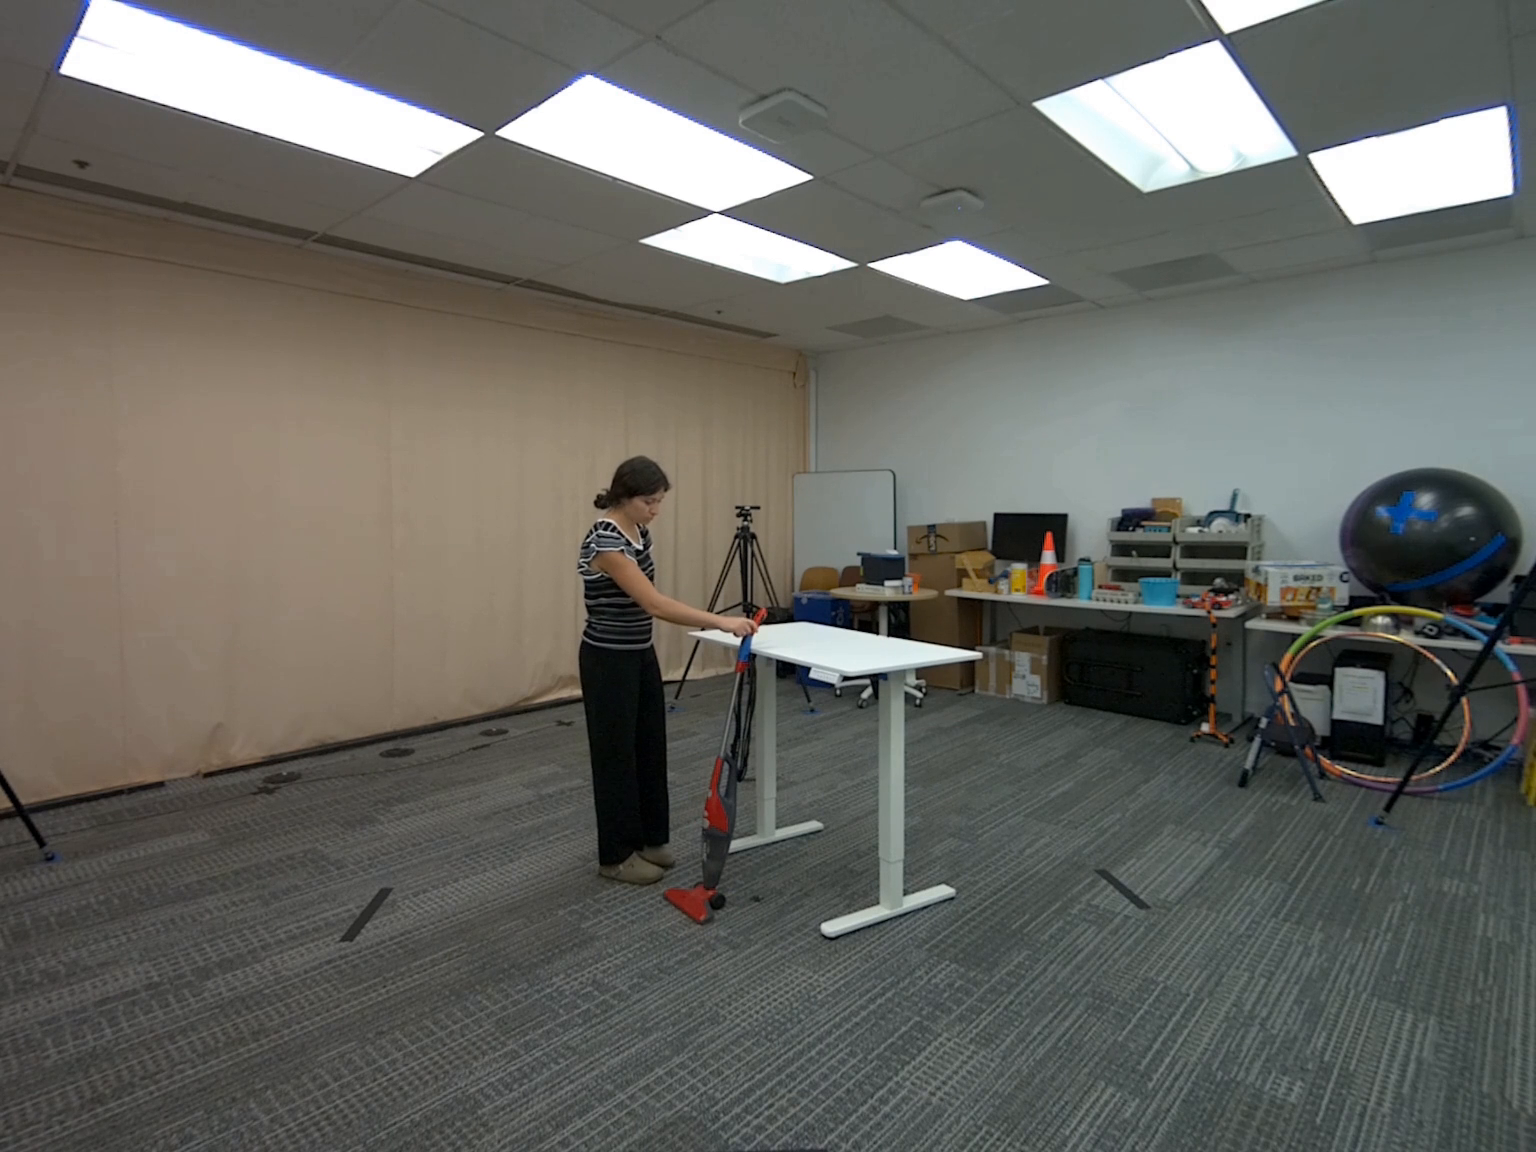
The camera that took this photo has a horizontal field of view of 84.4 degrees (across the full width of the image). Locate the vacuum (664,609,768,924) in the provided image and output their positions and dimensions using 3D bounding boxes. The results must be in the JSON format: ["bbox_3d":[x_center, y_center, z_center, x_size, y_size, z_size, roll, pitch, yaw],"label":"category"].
[{"bbox_3d":[-0.128,0.645,2.985,0.139,1.051,0.261,17,-7,-36],"label":"vacuum"}]
